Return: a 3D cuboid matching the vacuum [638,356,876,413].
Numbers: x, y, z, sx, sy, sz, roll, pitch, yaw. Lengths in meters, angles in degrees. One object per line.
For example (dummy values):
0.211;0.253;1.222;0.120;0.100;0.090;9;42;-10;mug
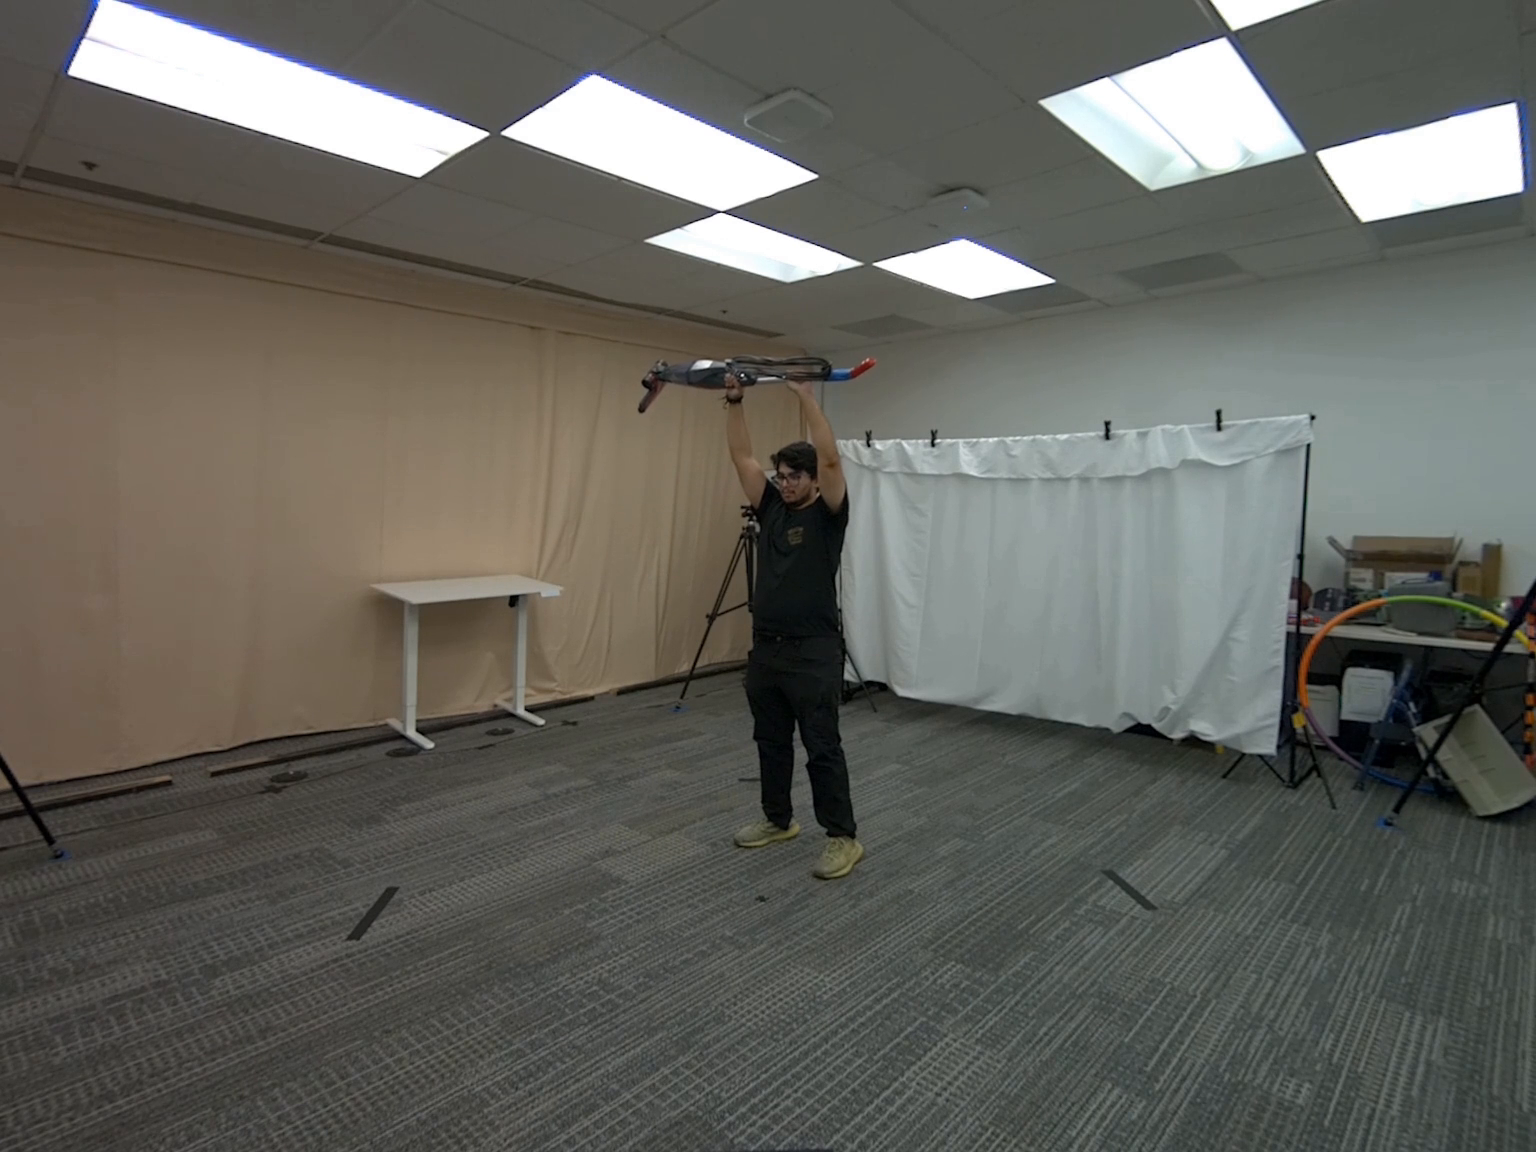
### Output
-0.065;-0.767;3.146;1.084;0.140;0.251;5;45;40;vacuum
